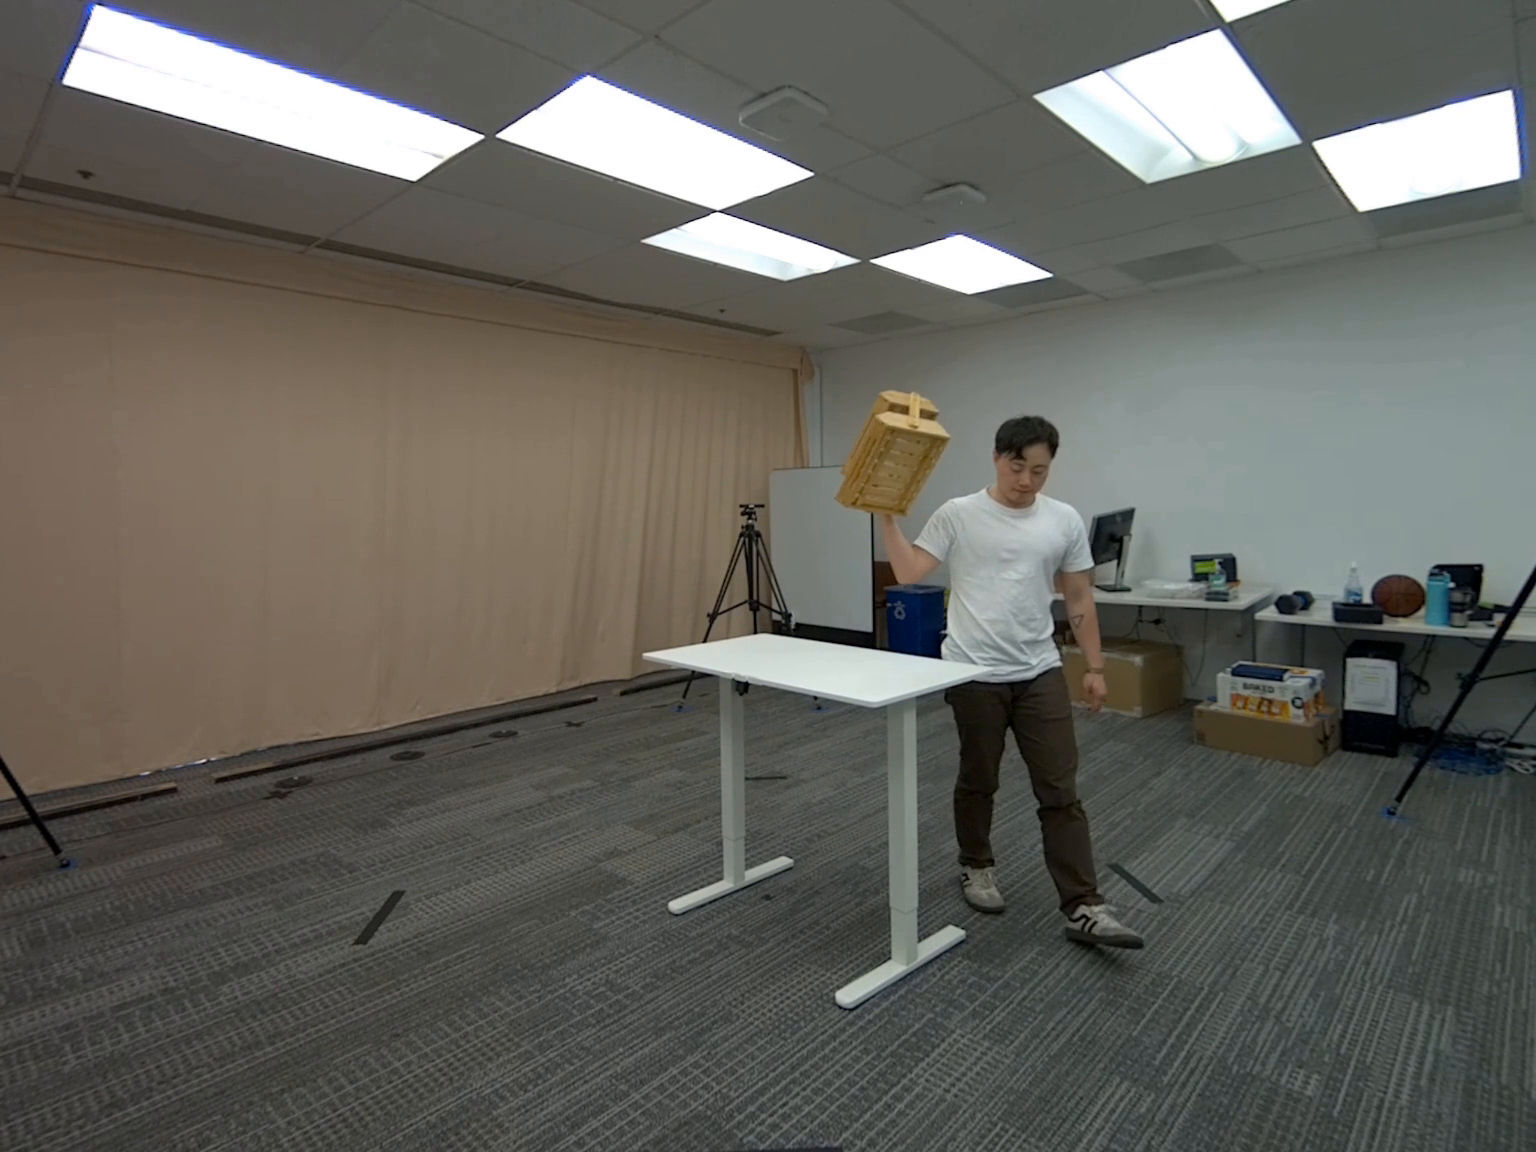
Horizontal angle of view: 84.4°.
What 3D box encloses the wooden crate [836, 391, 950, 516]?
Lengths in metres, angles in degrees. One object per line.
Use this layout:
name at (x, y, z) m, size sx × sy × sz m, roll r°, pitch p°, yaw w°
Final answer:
wooden crate at (0.381, -0.400, 2.671) m, size 0.294 × 0.323 × 0.281 m, roll 8°, pitch 36°, yaw -25°
